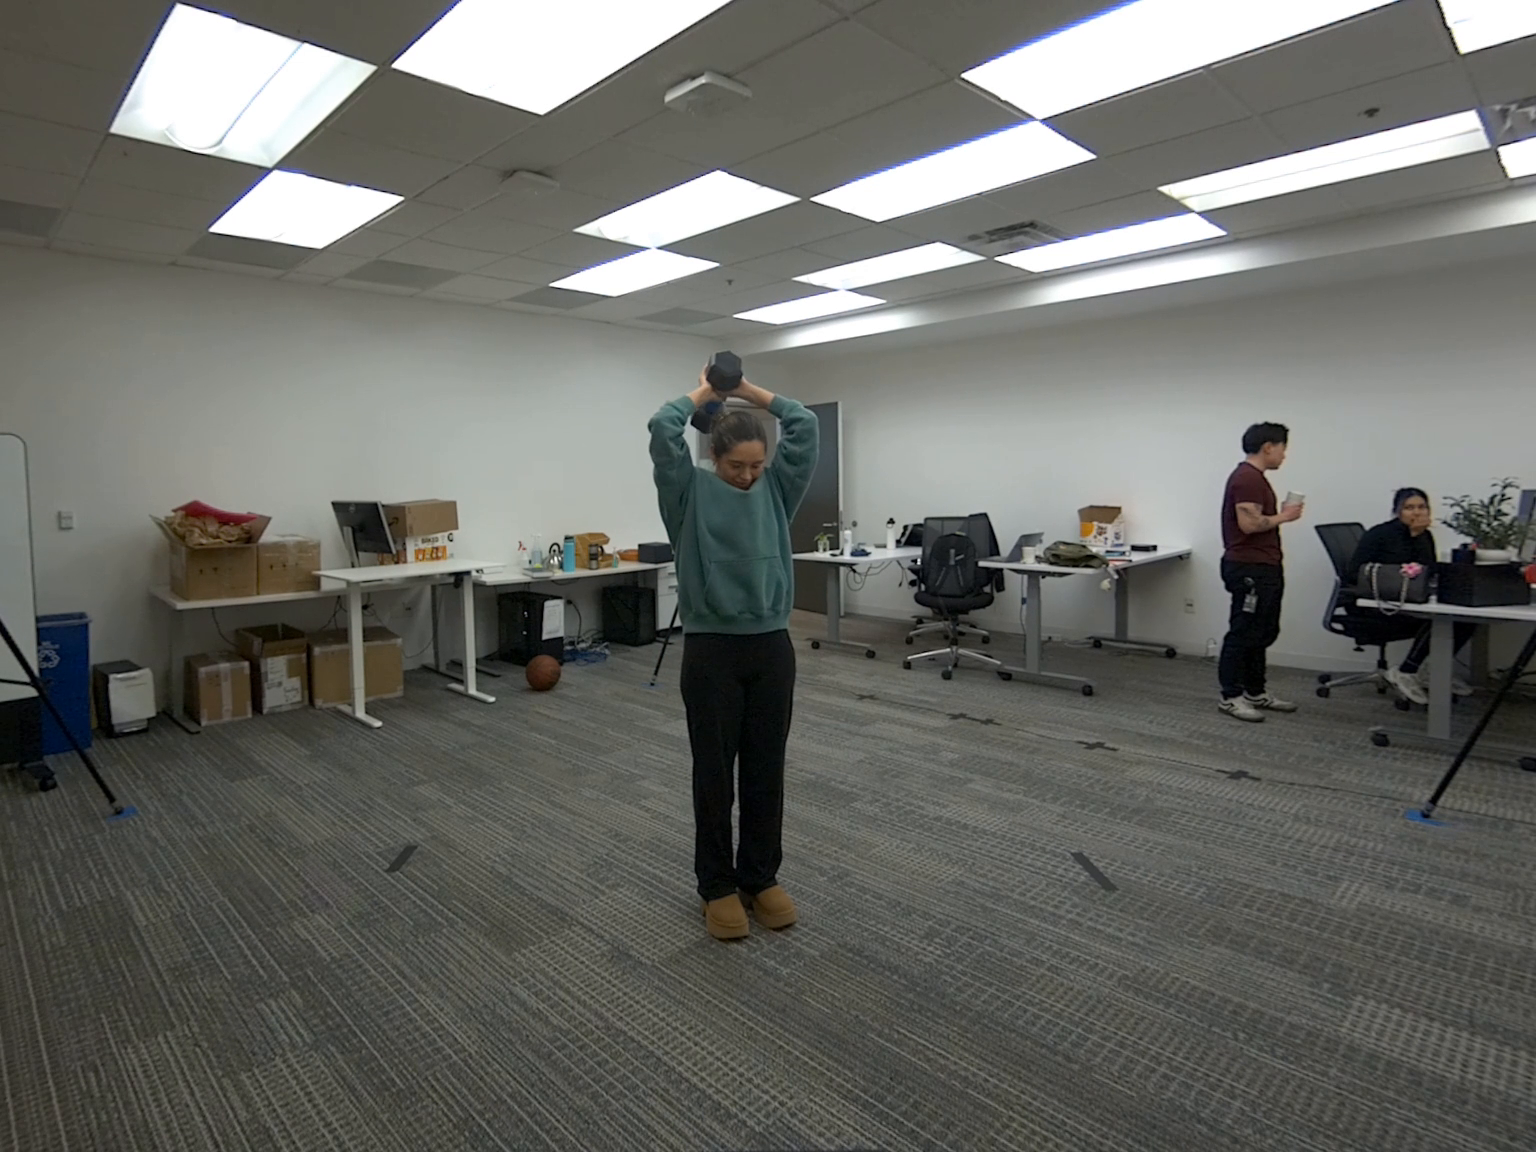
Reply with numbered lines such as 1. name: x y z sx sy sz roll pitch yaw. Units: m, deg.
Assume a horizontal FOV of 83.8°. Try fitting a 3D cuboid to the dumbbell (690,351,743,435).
1. dumbbell: -0.171 -0.598 2.783 0.107 0.126 0.290 10 -34 -13
